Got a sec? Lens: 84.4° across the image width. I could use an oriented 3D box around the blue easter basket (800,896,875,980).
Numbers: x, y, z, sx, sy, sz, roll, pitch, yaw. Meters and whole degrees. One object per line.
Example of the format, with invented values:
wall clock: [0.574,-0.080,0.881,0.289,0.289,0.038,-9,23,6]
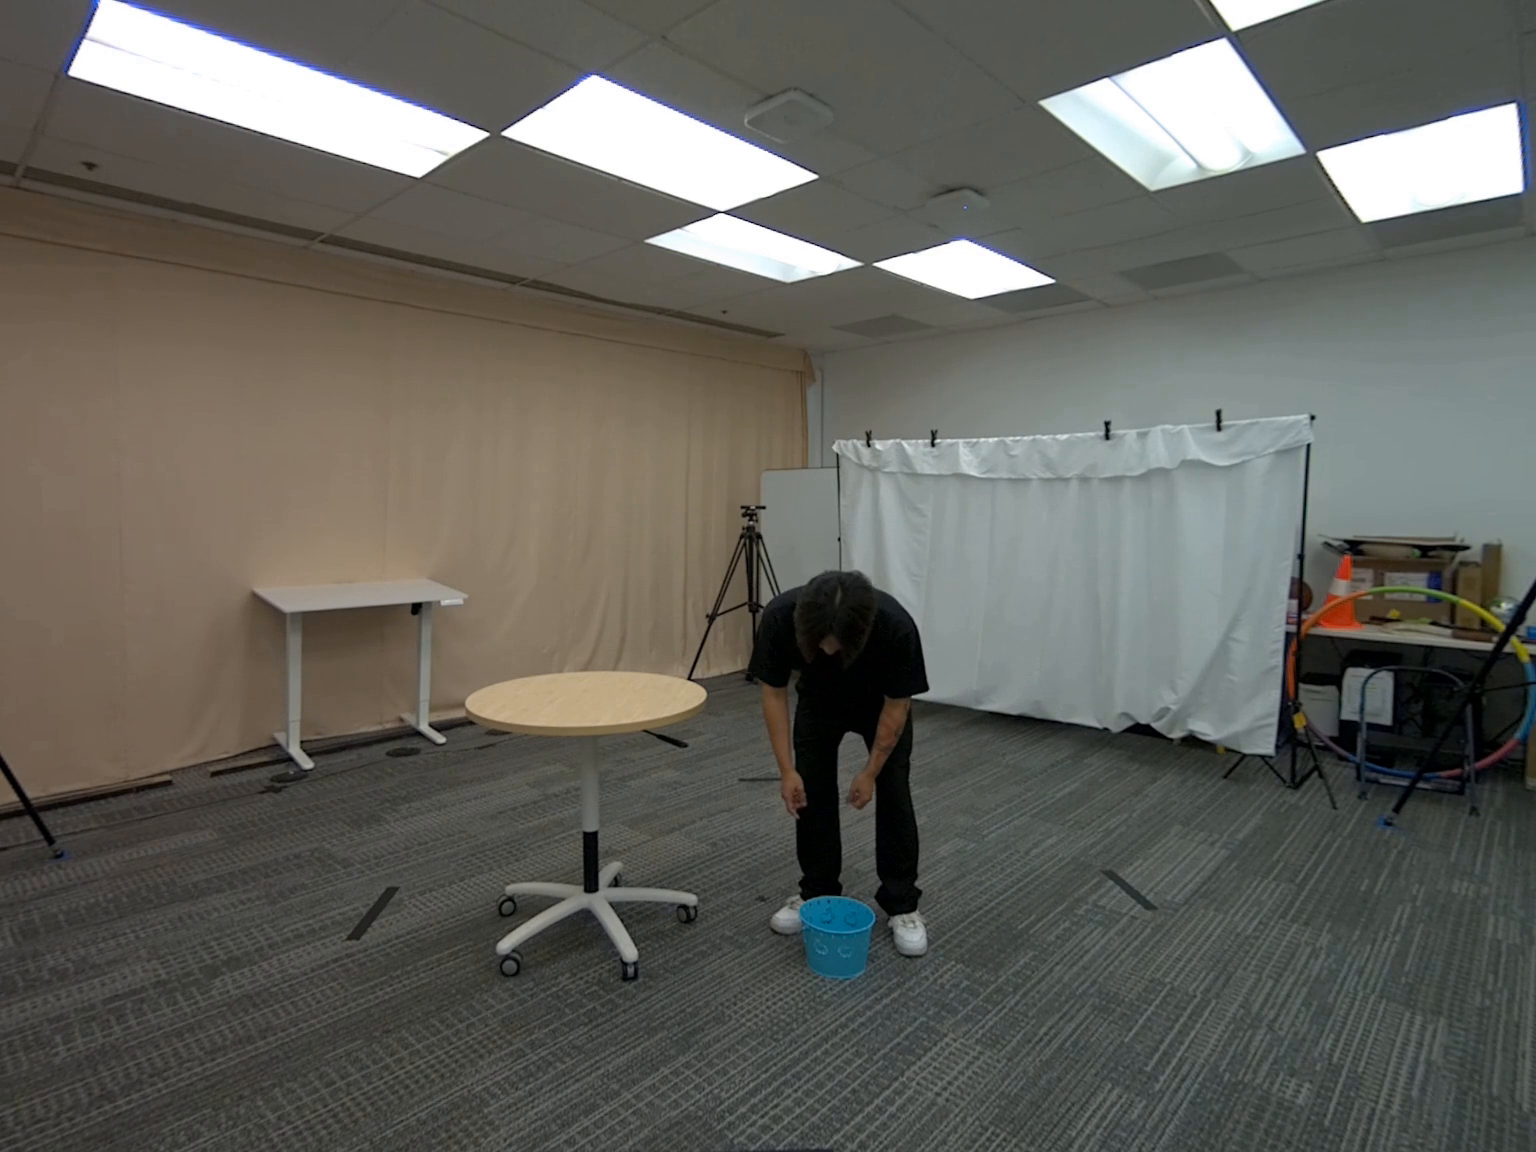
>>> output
blue easter basket: [0.211,1.094,2.571,0.243,0.155,0.244,0,4,-2]
